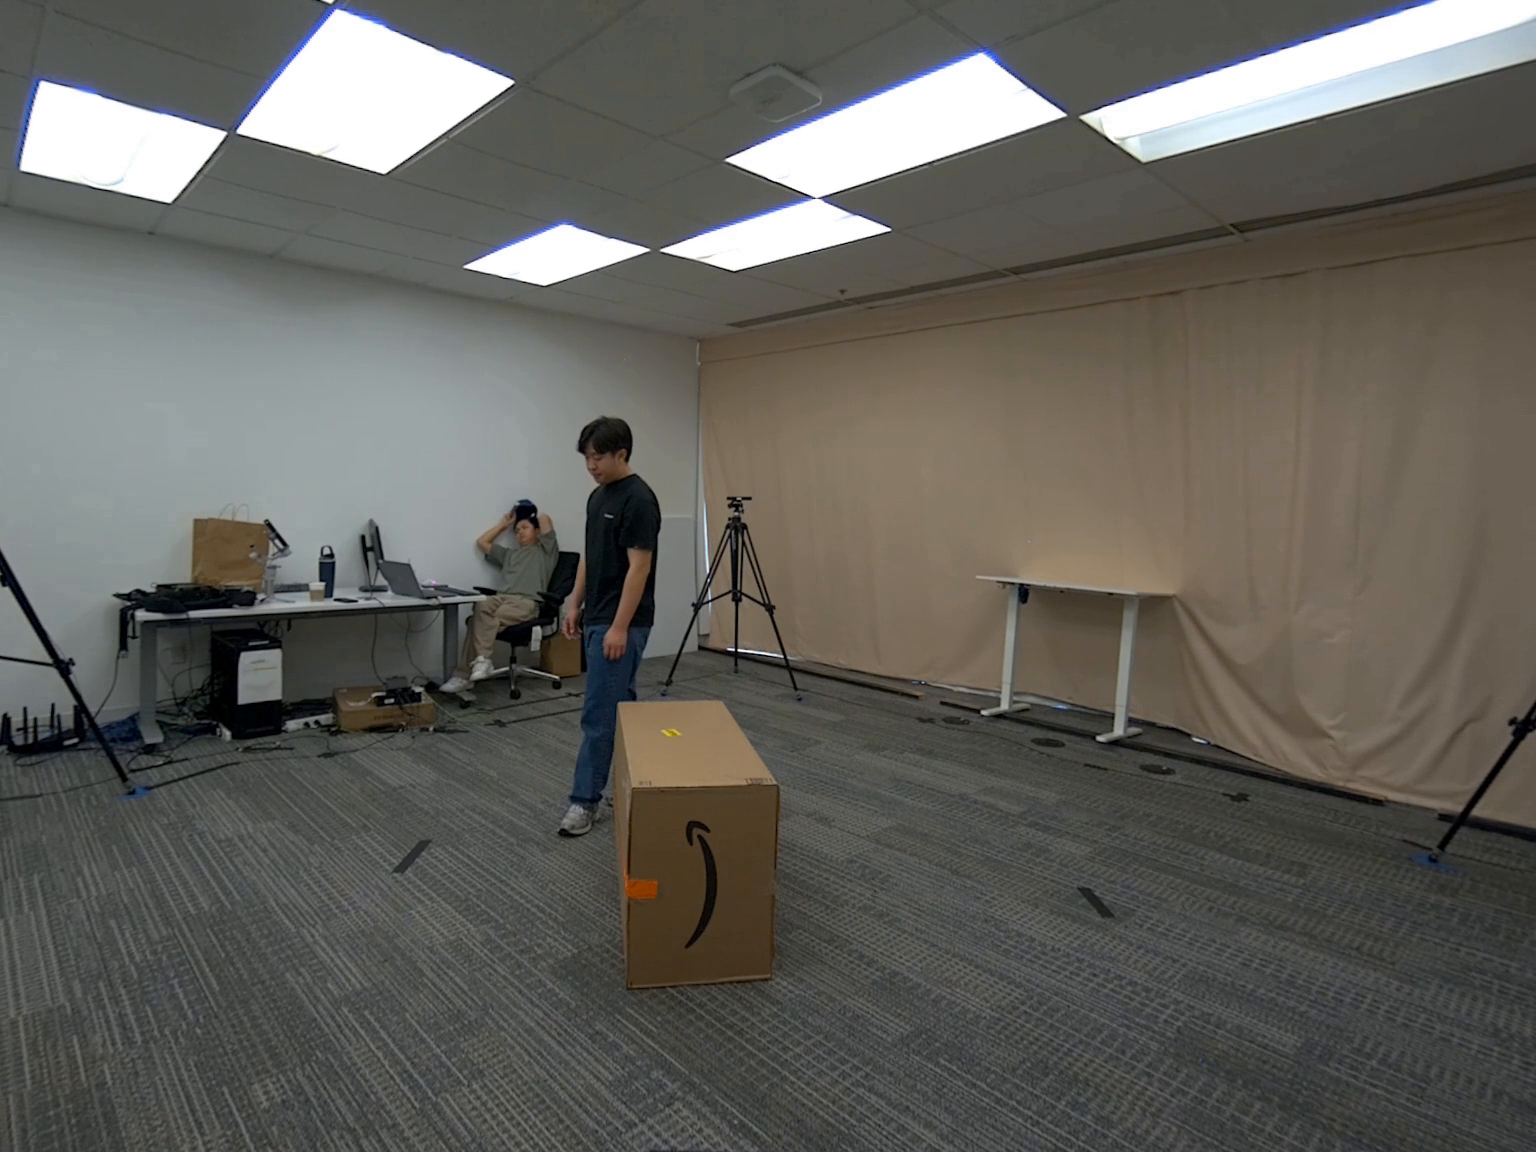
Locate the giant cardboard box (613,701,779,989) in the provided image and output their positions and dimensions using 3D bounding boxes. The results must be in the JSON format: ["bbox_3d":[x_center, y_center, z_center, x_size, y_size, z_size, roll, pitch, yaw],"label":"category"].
[{"bbox_3d":[-0.294,0.834,2.890,0.443,0.582,1.039,0,4,-12],"label":"giant cardboard box"}]
